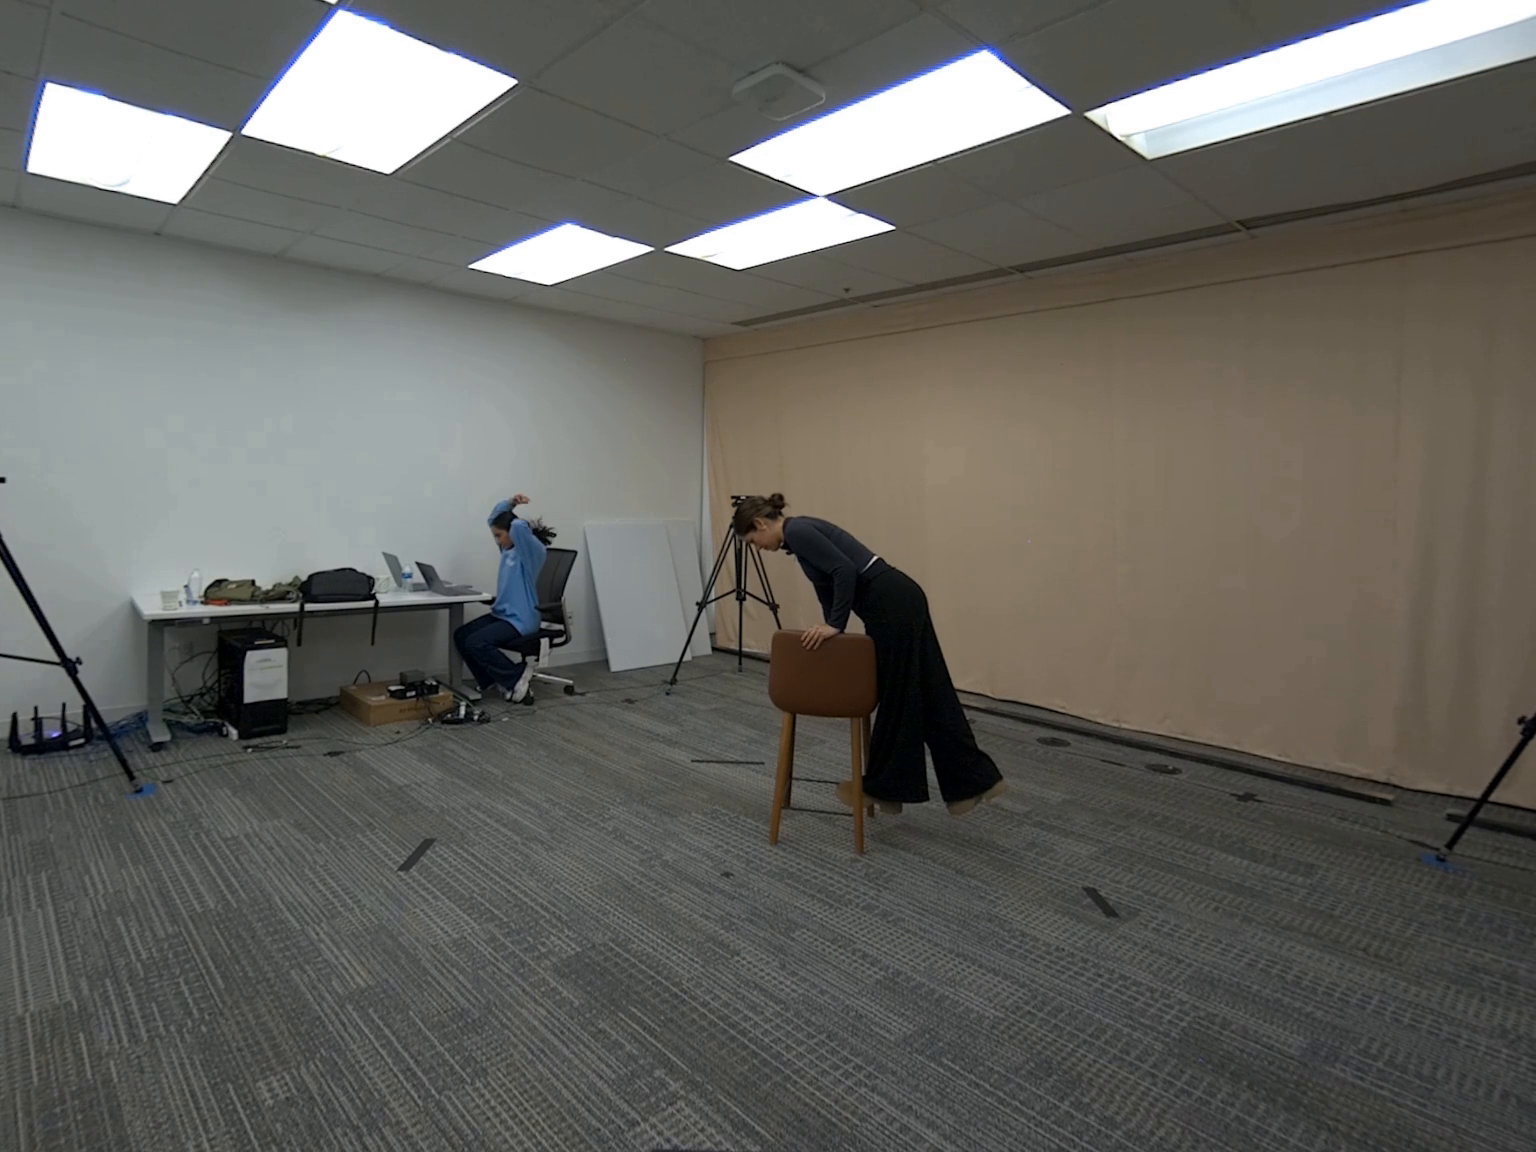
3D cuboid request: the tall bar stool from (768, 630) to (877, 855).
[{"bbox_3d":[0.232,0.639,3.542,0.461,0.887,0.464,2,4,12],"label":"tall bar stool"}]
